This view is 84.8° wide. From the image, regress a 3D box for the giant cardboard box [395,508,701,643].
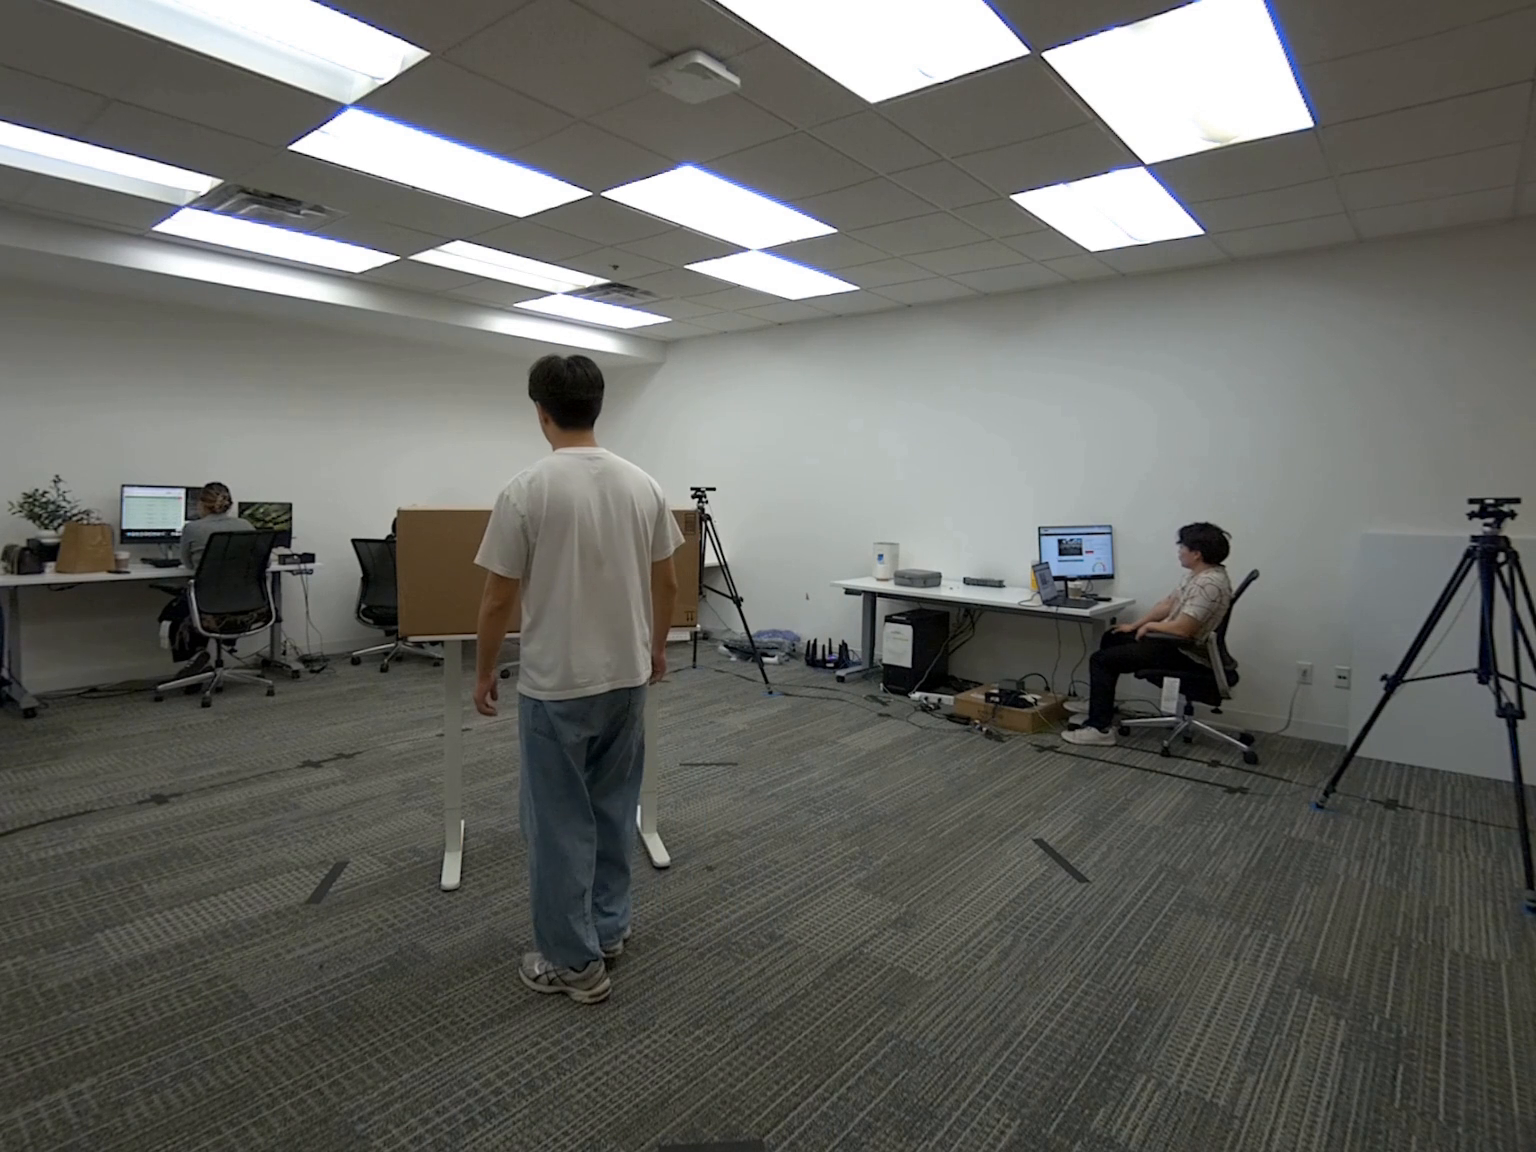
[{"bbox_3d":[-0.826,-0.044,3.191,1.010,0.424,0.589,-1,5,-16],"label":"giant cardboard box"}]
